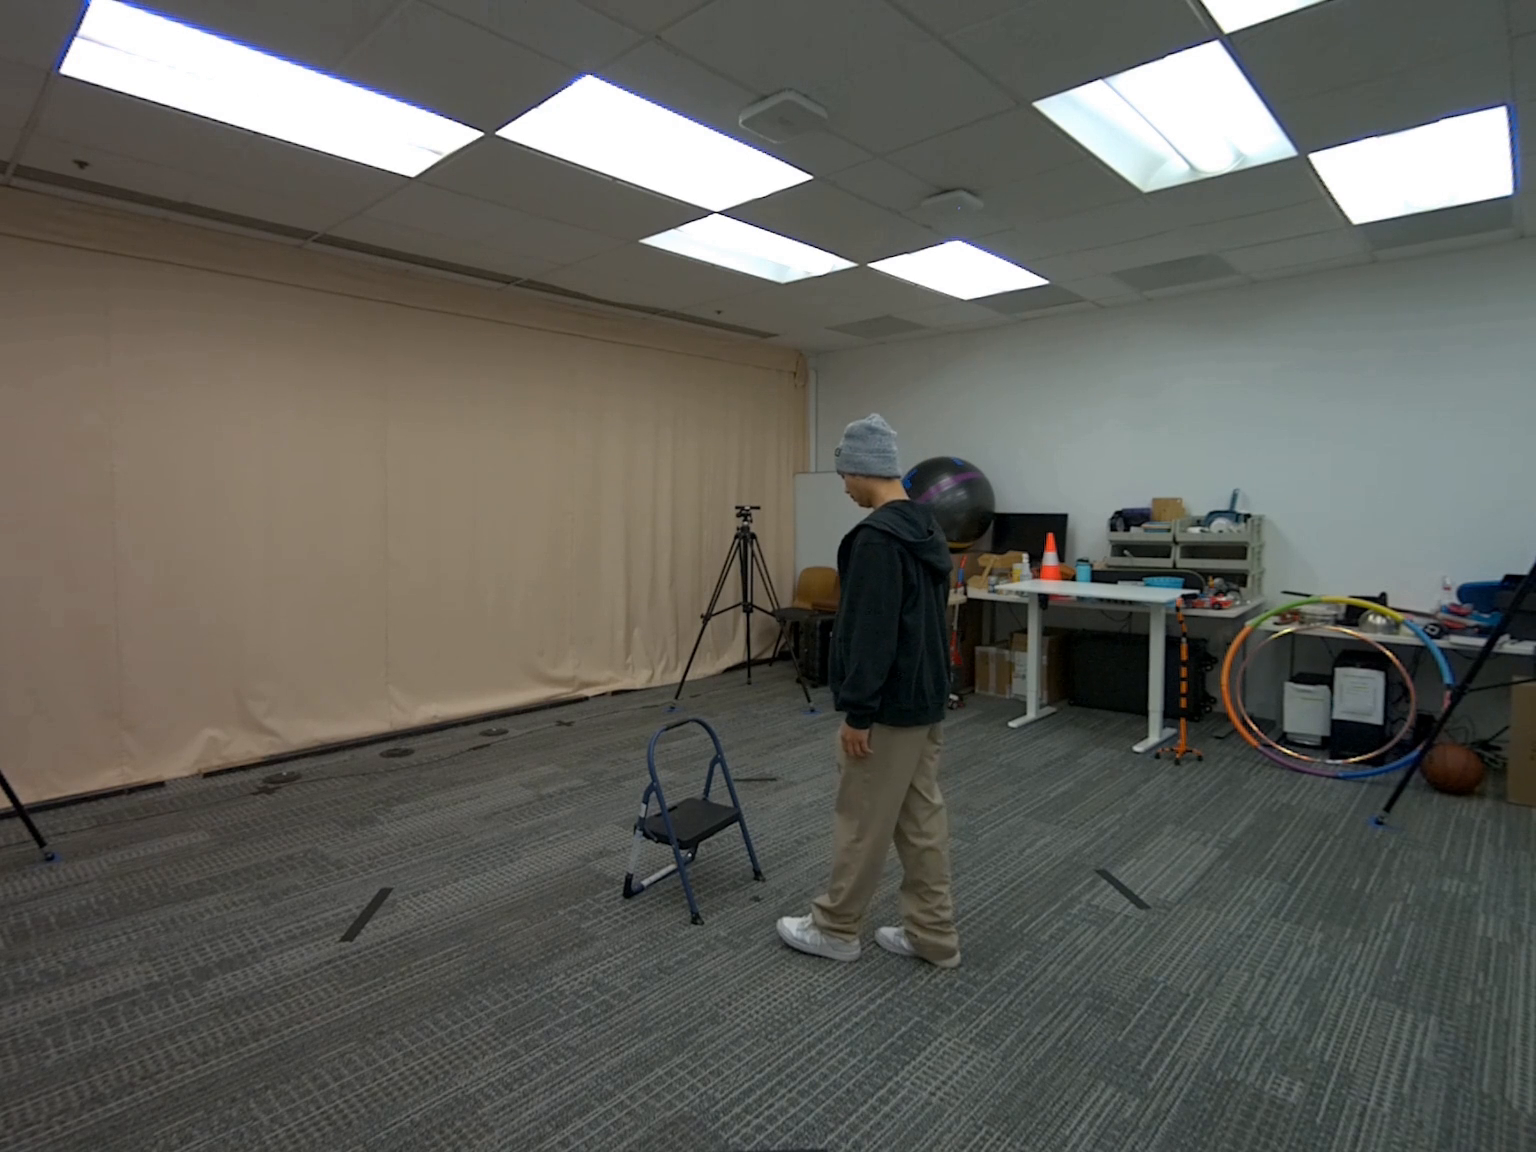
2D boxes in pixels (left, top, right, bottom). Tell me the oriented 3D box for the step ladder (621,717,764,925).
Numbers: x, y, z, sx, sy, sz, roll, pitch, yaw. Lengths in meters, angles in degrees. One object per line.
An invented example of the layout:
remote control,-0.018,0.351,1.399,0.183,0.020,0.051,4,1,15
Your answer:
step ladder,-0.266,0.836,3.053,0.360,0.605,0.418,2,4,33
